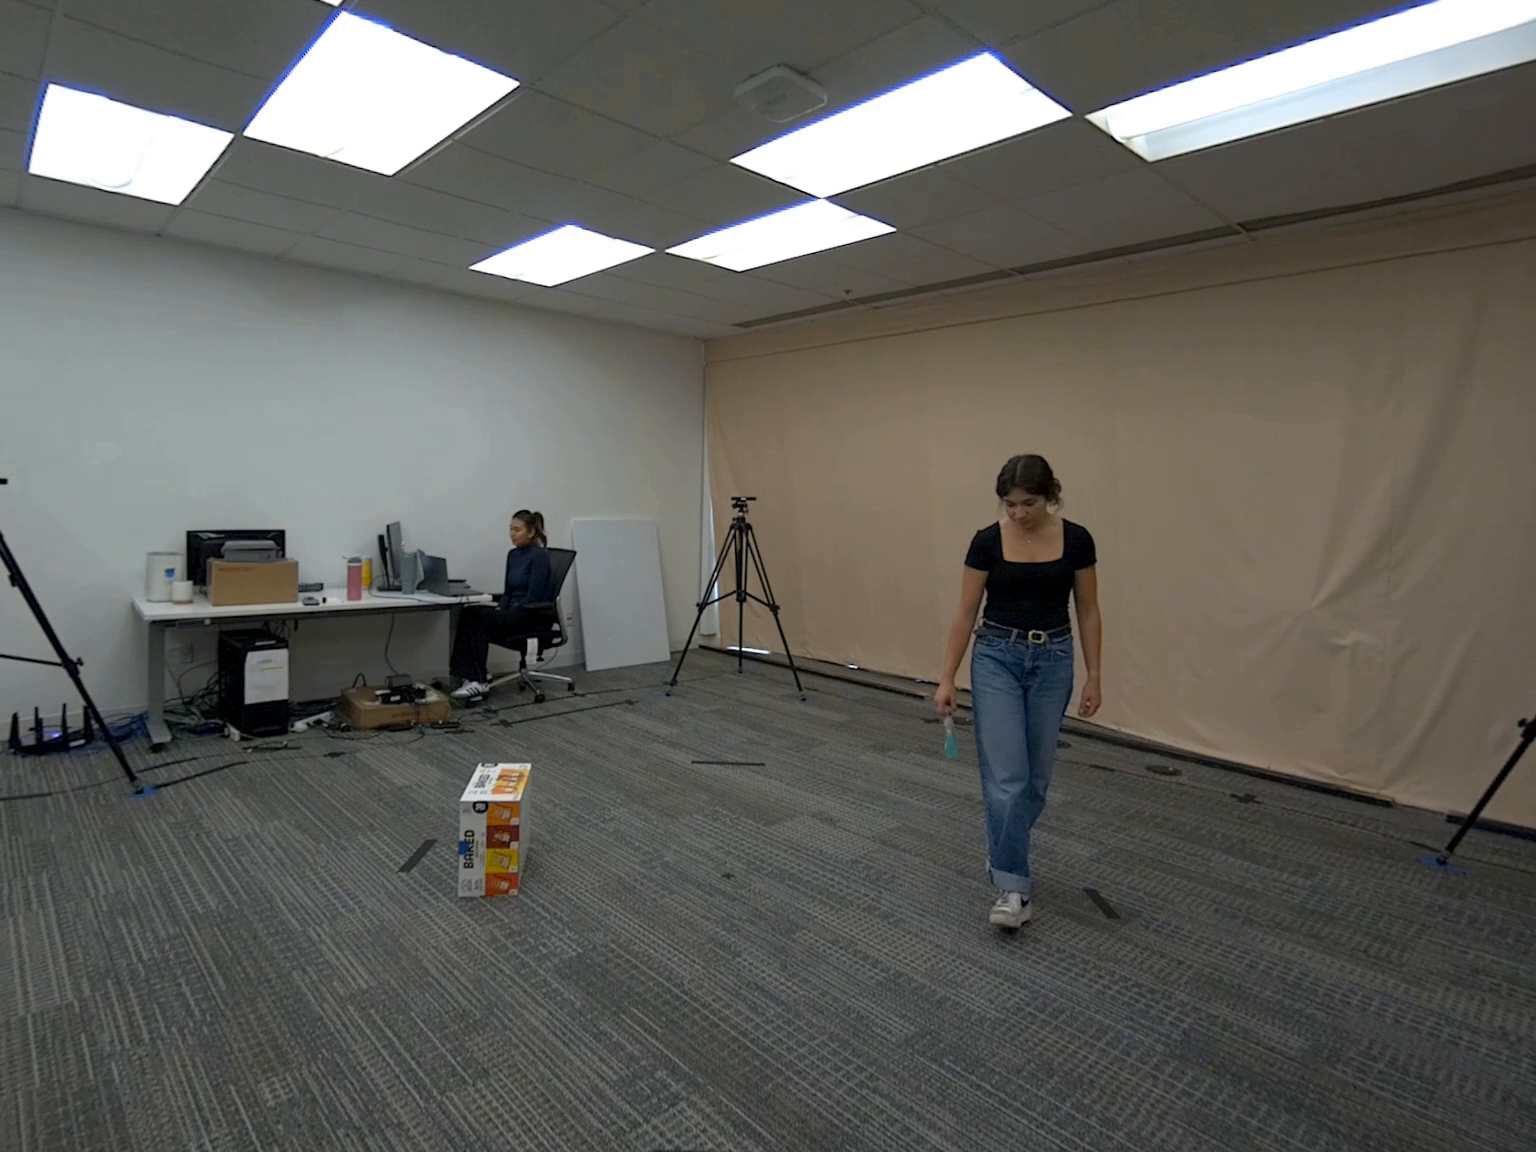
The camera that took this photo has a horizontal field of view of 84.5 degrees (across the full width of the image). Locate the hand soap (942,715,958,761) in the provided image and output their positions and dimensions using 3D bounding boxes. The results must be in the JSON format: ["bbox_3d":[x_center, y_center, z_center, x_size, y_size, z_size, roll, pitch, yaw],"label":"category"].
[{"bbox_3d":[0.629,0.547,2.926,0.044,0.168,0.084,-2,2,10],"label":"hand soap"}]
